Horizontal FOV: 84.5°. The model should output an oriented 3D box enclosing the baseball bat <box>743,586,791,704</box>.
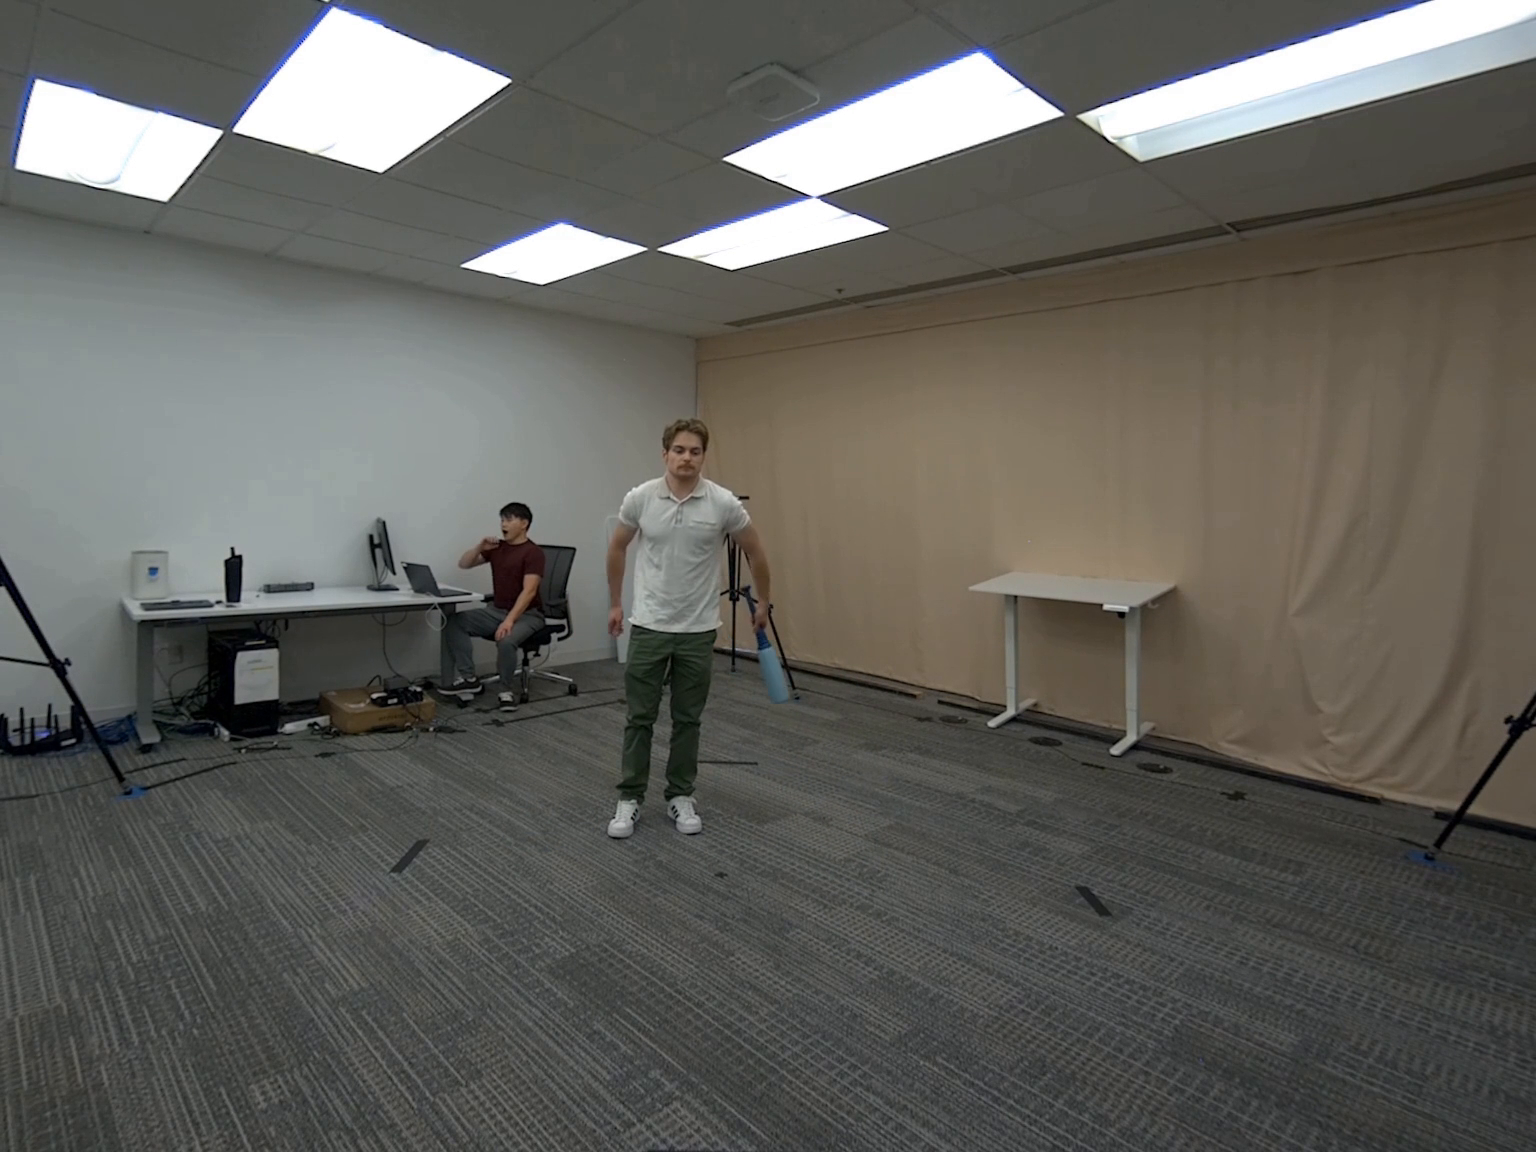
[{"bbox_3d":[-0.039,0.298,3.713,0.089,0.543,0.089,-18,-1,-1],"label":"baseball bat"}]
